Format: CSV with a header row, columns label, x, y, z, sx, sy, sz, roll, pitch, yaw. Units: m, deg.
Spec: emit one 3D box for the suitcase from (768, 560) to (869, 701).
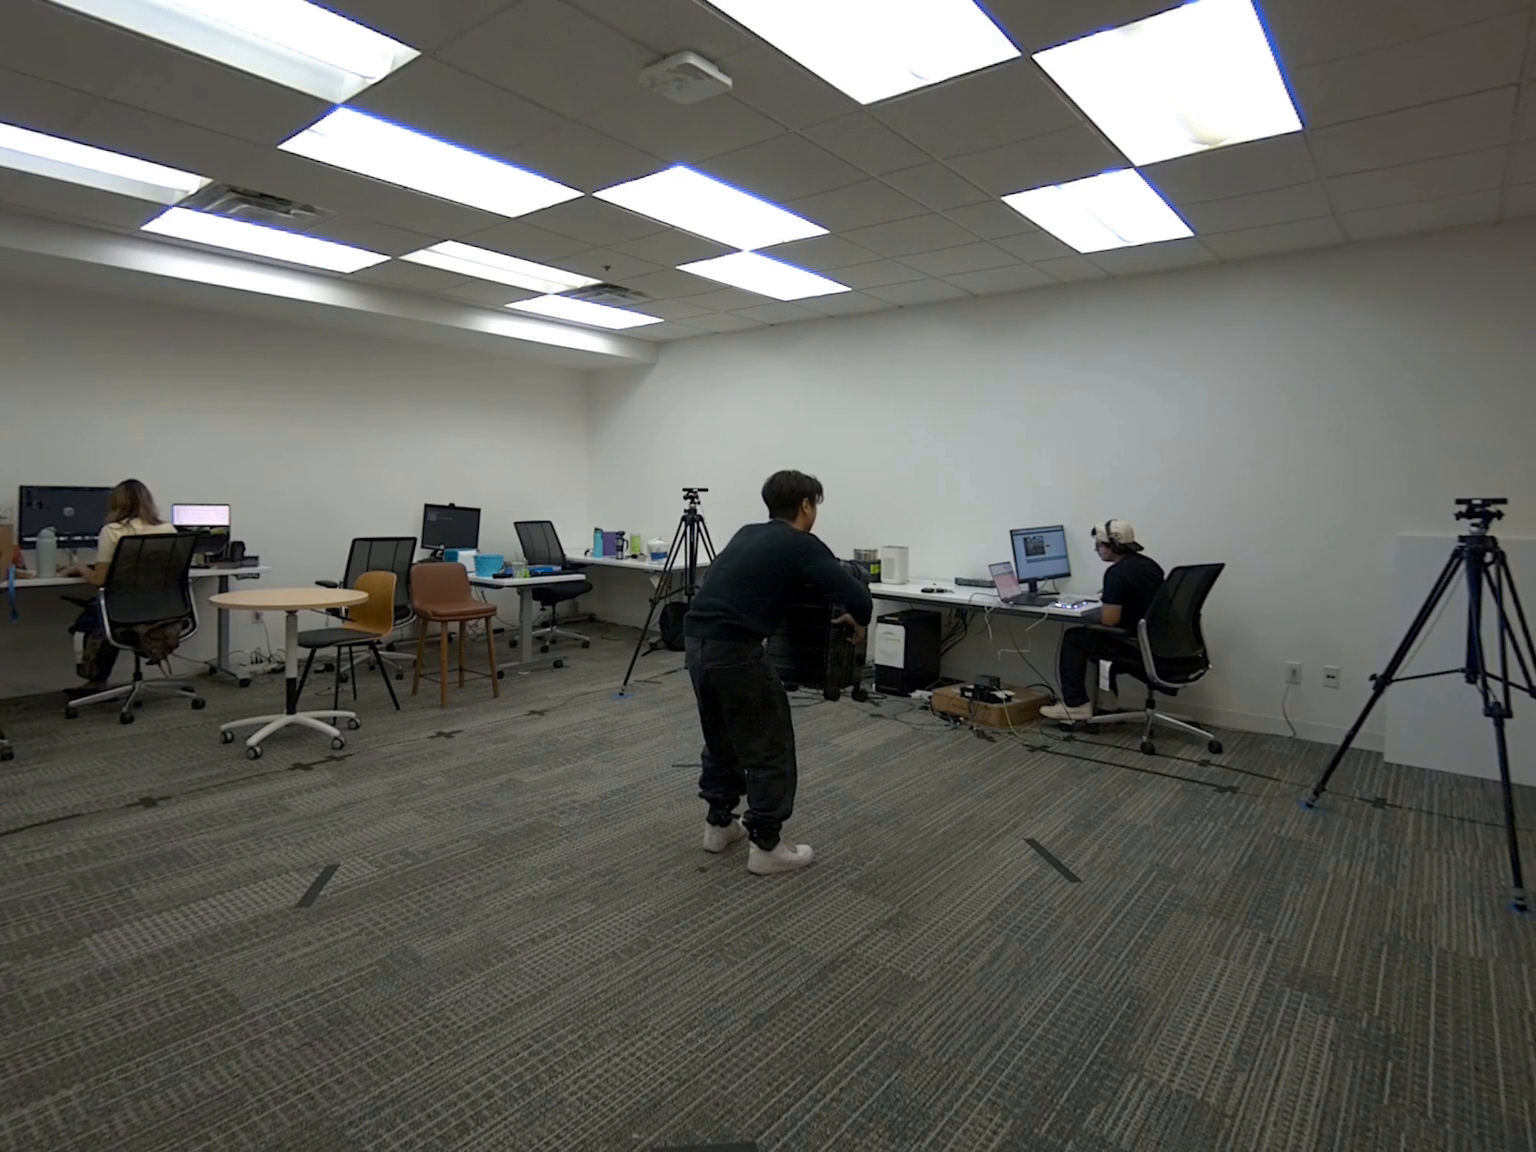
label,x,y,z,sx,sy,sz,roll,pitch,yaw
suitcase,0.192,0.207,3.398,0.387,0.552,0.239,1,-7,40
